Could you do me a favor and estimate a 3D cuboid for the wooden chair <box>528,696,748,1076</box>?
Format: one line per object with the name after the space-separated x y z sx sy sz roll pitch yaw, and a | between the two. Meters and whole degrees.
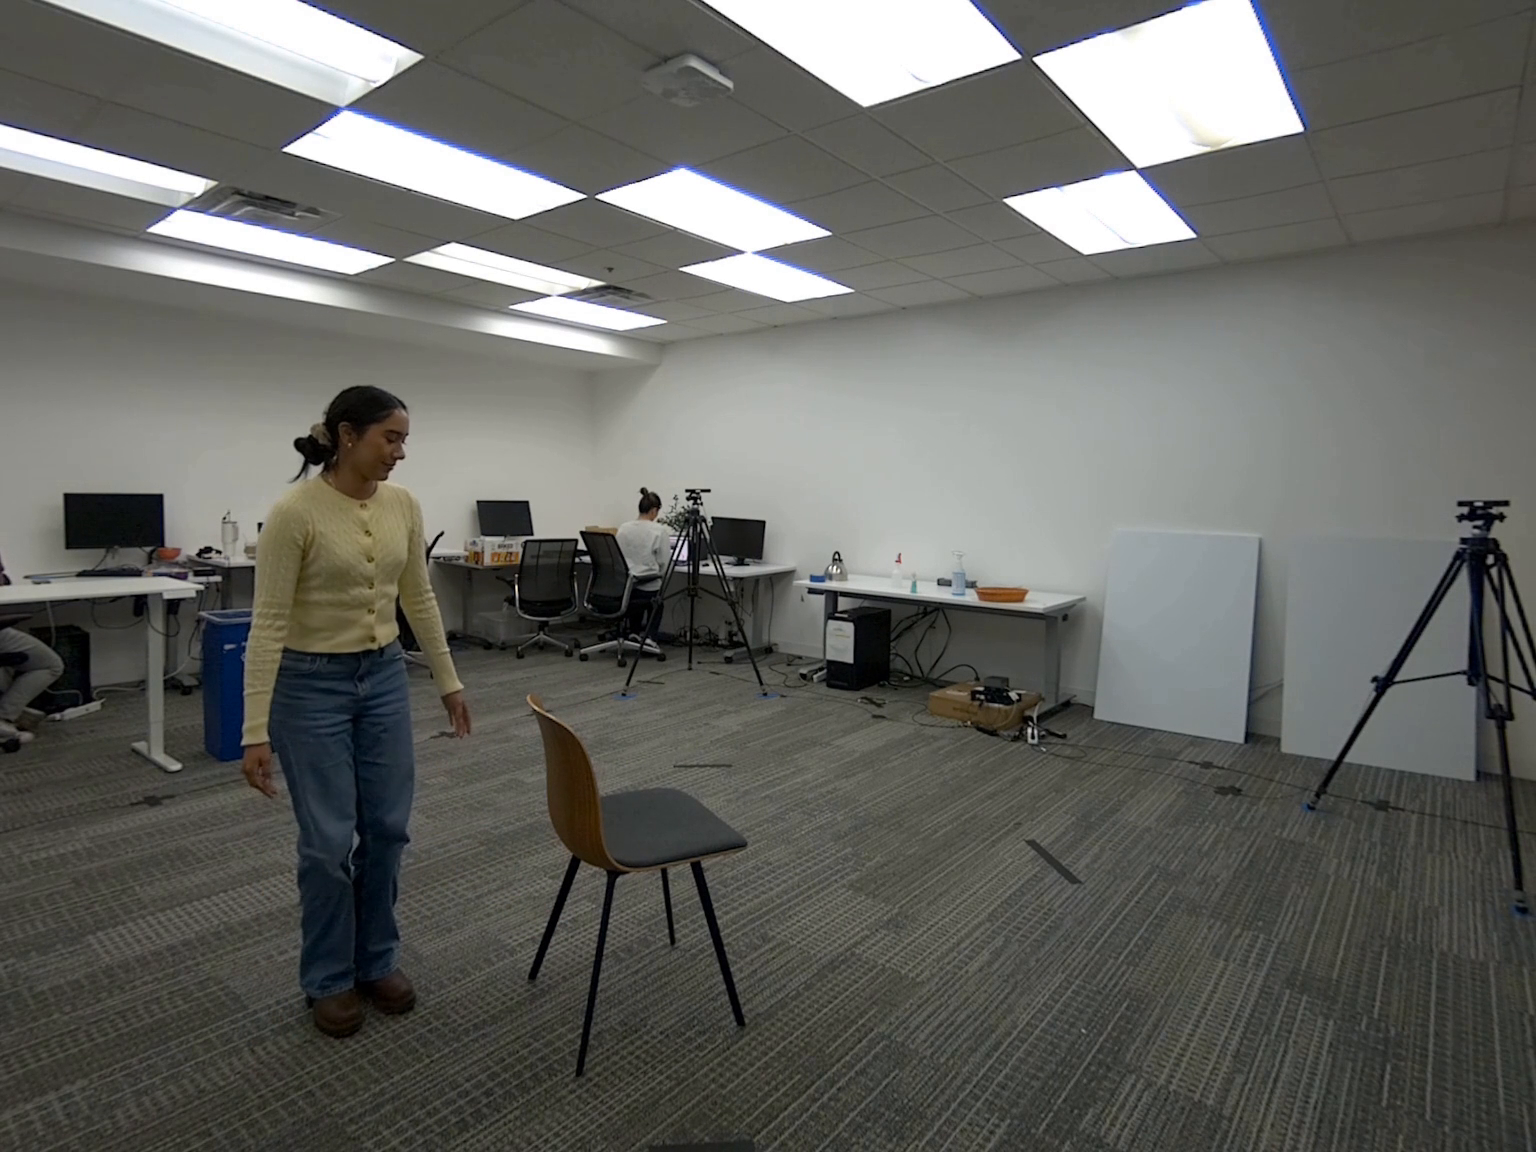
-0.358 0.726 2.284 0.511 0.873 0.492 -6 6 -29 | wooden chair
